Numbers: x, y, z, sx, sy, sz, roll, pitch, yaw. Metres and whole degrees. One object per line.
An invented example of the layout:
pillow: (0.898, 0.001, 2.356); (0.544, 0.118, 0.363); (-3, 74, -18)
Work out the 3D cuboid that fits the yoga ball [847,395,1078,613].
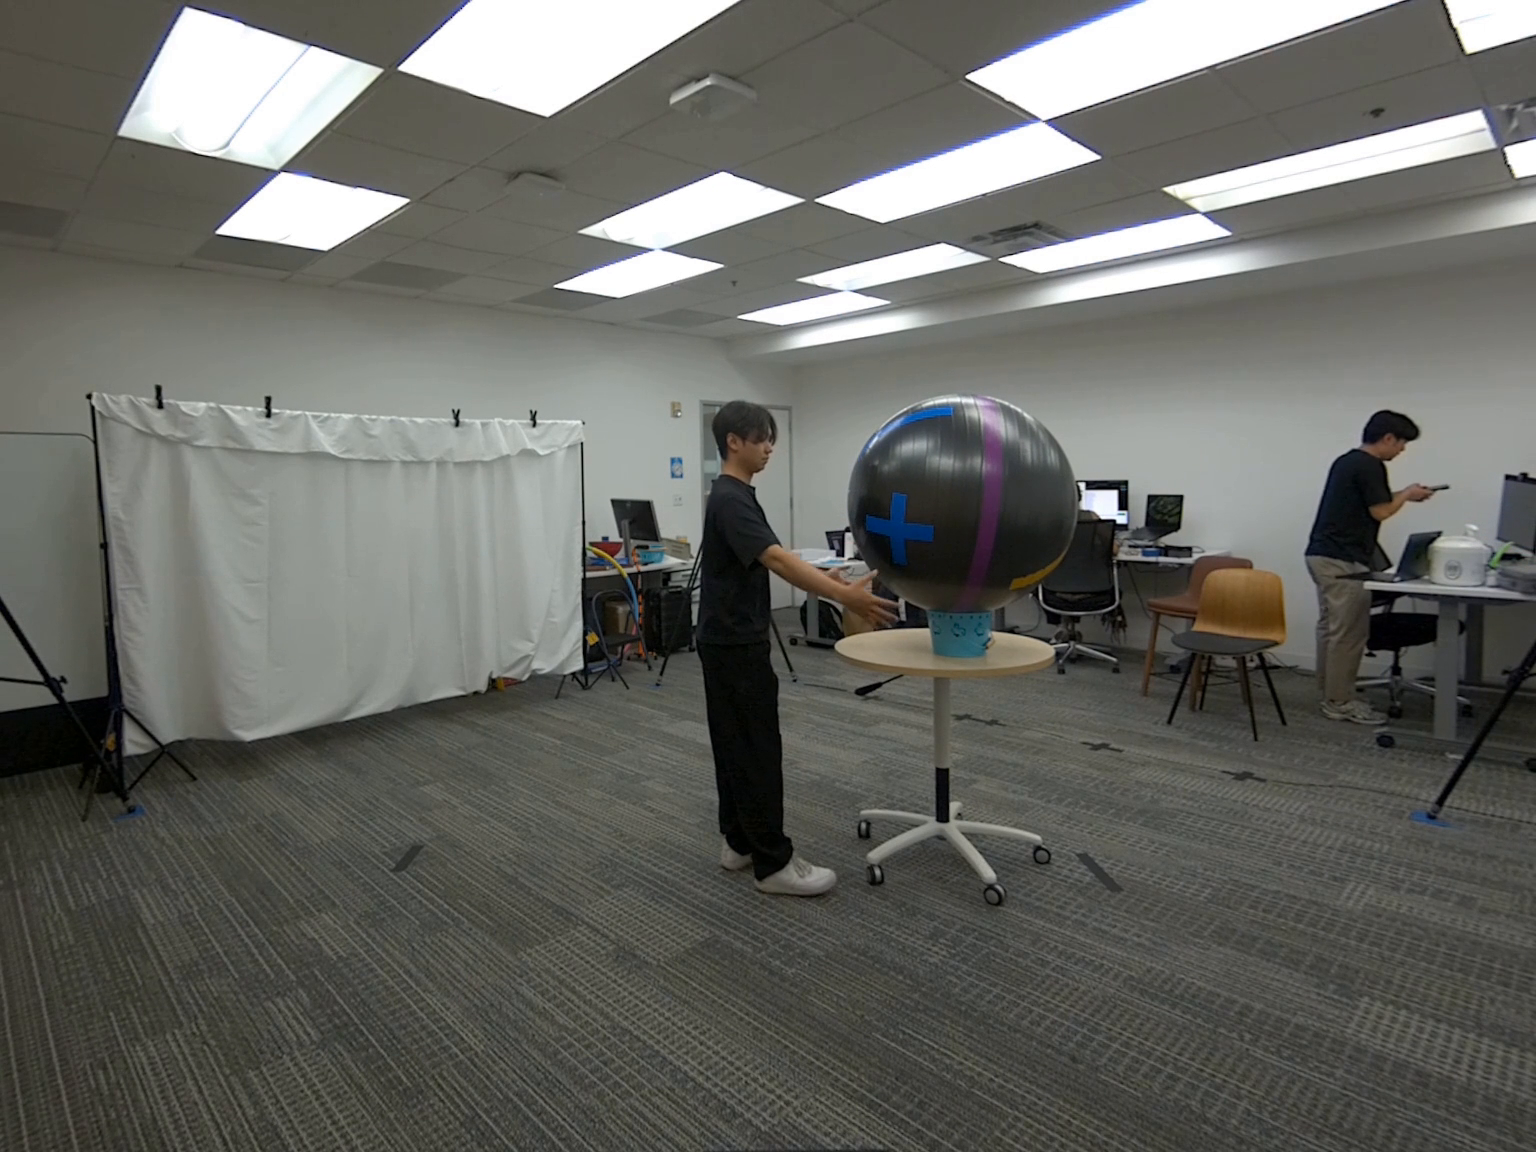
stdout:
yoga ball: (0.666, -0.244, 2.956); (0.757, 0.755, 0.762); (-1, 5, -2)
